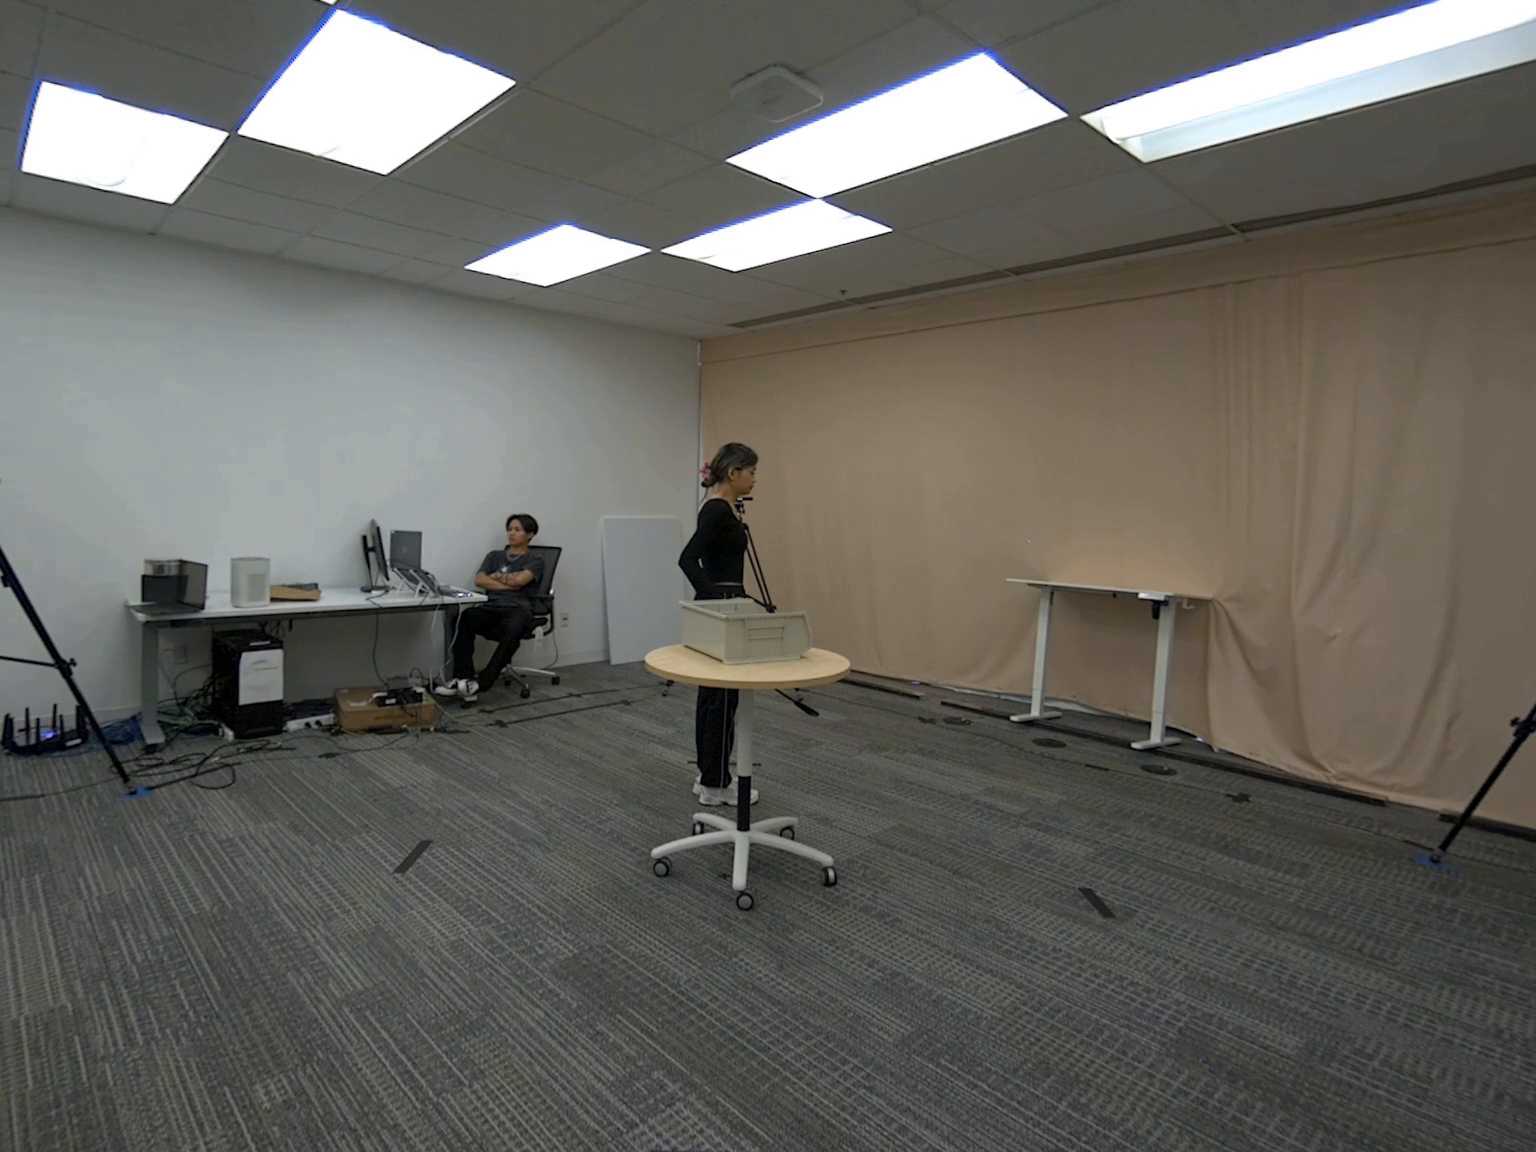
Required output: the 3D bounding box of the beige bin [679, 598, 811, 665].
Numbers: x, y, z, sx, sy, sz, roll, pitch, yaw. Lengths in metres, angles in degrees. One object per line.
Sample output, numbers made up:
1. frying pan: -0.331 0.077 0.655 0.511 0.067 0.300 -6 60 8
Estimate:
1. beige bin: -0.099 0.209 3.289 0.370 0.188 0.432 -2 7 -28
